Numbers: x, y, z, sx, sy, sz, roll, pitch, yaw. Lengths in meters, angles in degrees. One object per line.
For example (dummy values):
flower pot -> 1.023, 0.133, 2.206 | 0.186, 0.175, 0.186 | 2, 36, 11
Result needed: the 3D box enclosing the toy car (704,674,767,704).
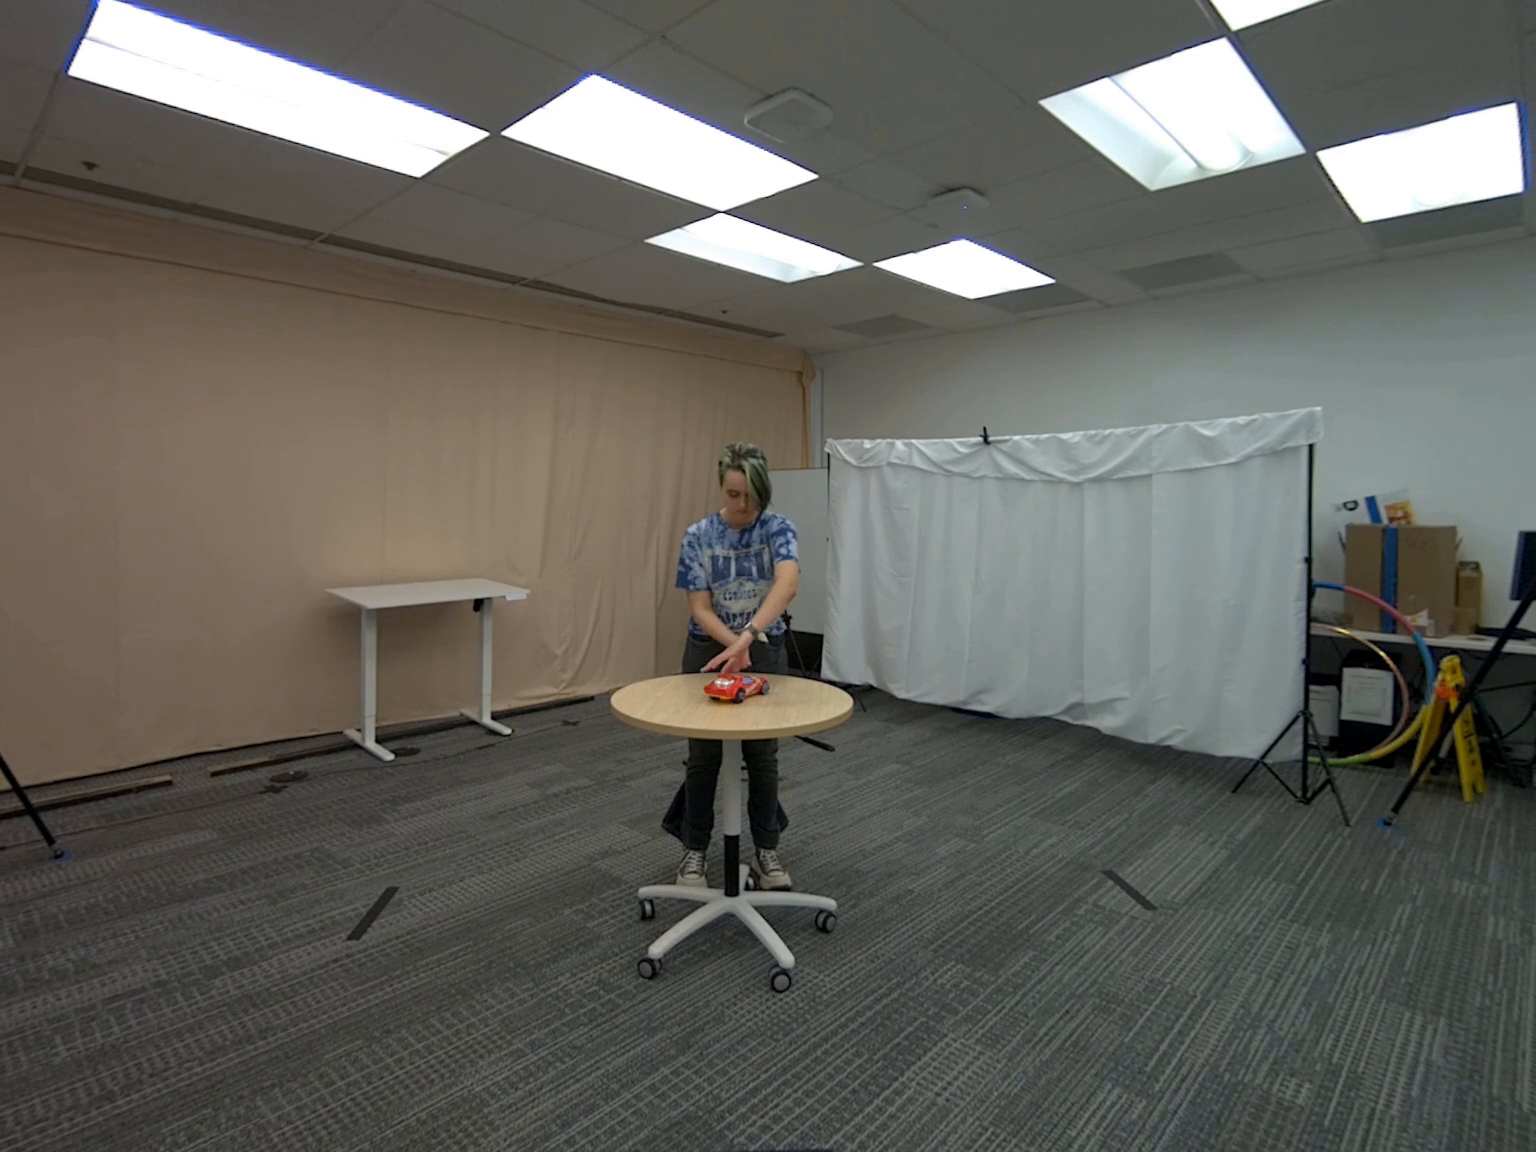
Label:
toy car -> -0.103, 0.355, 2.671 | 0.134, 0.083, 0.246 | 3, -5, 34
